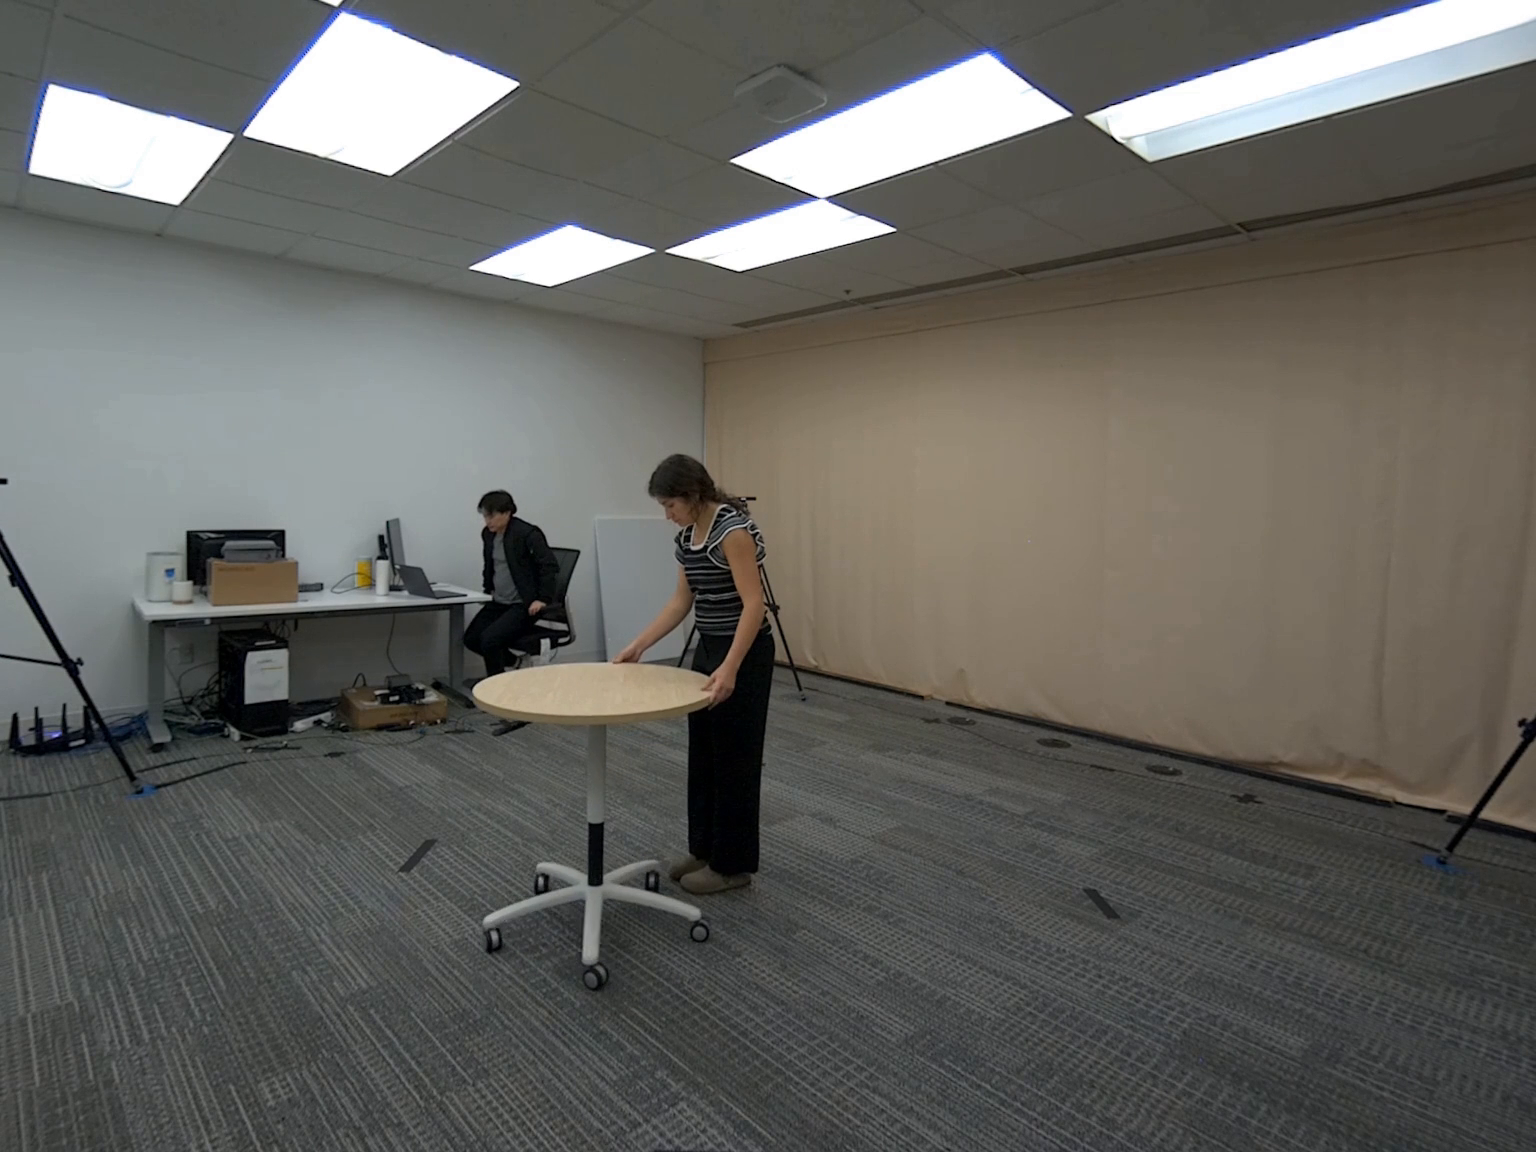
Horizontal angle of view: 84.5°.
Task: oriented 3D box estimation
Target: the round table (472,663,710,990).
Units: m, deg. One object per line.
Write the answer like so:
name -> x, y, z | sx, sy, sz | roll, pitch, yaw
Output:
round table -> -0.543, 0.739, 2.705 | 0.784, 0.784, 0.788 | 1, 4, -1
